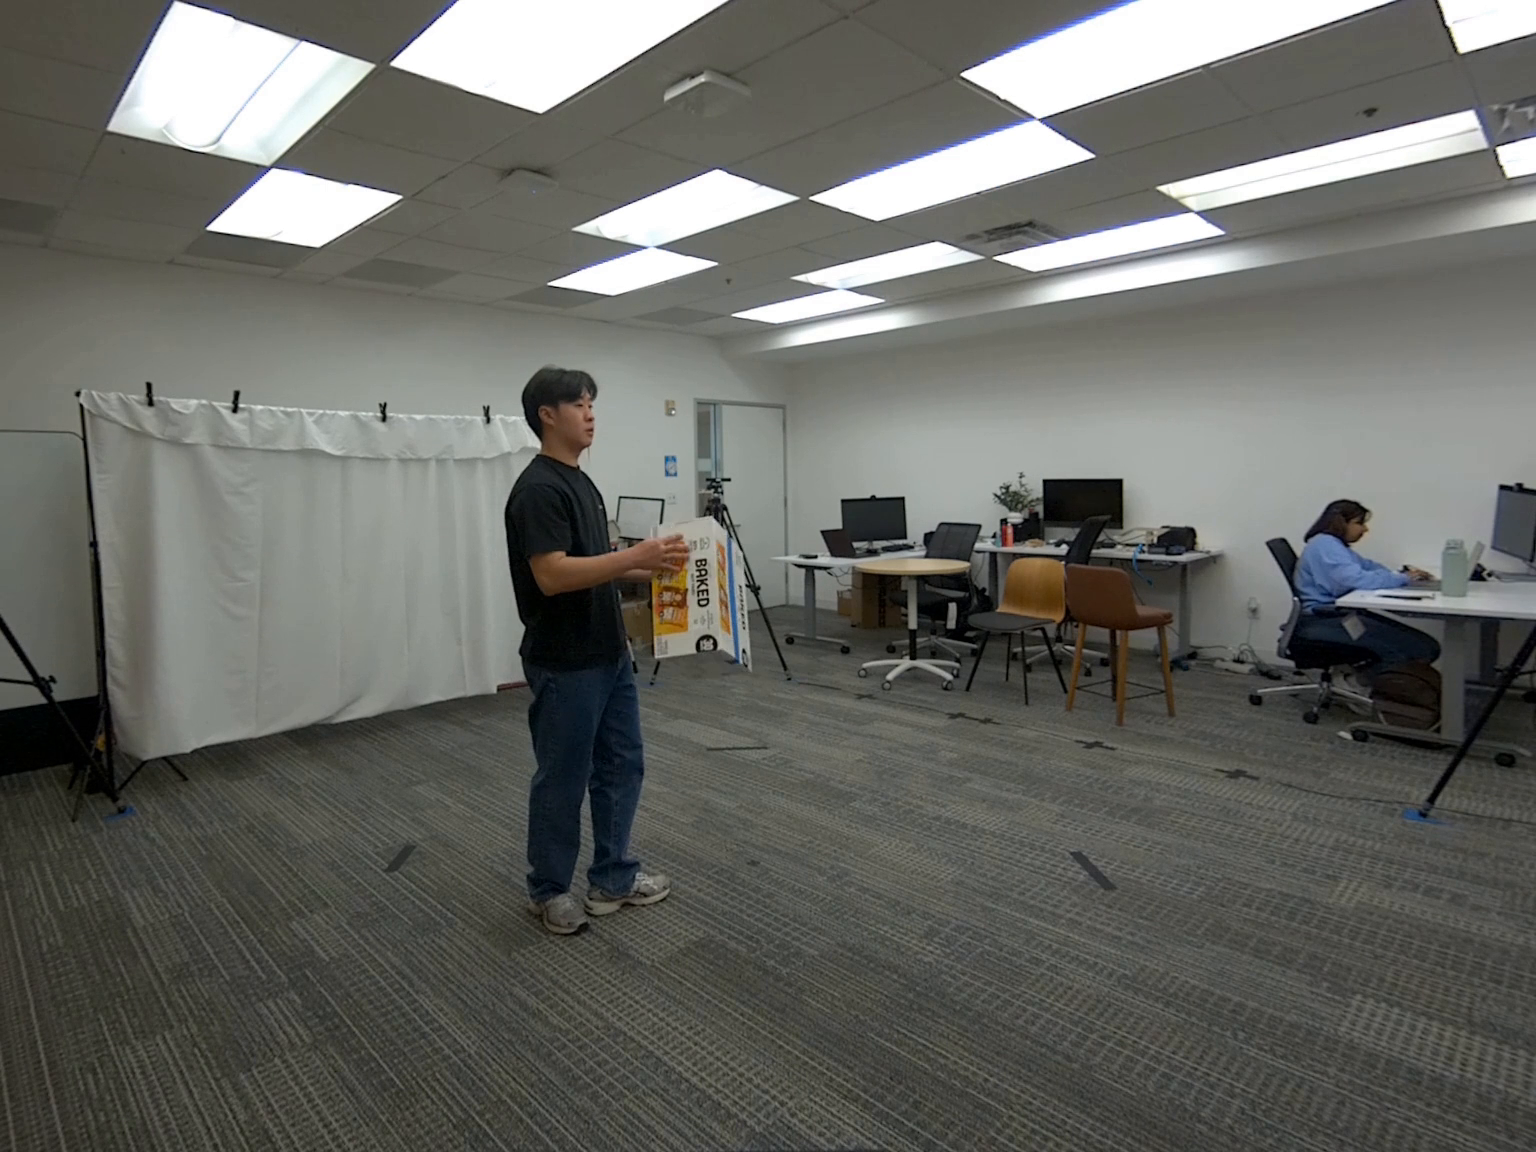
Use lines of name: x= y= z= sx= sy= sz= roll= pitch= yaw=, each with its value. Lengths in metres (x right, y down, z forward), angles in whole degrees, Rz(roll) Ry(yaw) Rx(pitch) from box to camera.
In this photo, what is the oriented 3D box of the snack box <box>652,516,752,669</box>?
snack box: x=-0.200 y=0.079 z=2.622 sx=0.208 sy=0.413 sz=0.330 roll=-9 pitch=-21 yaw=12
